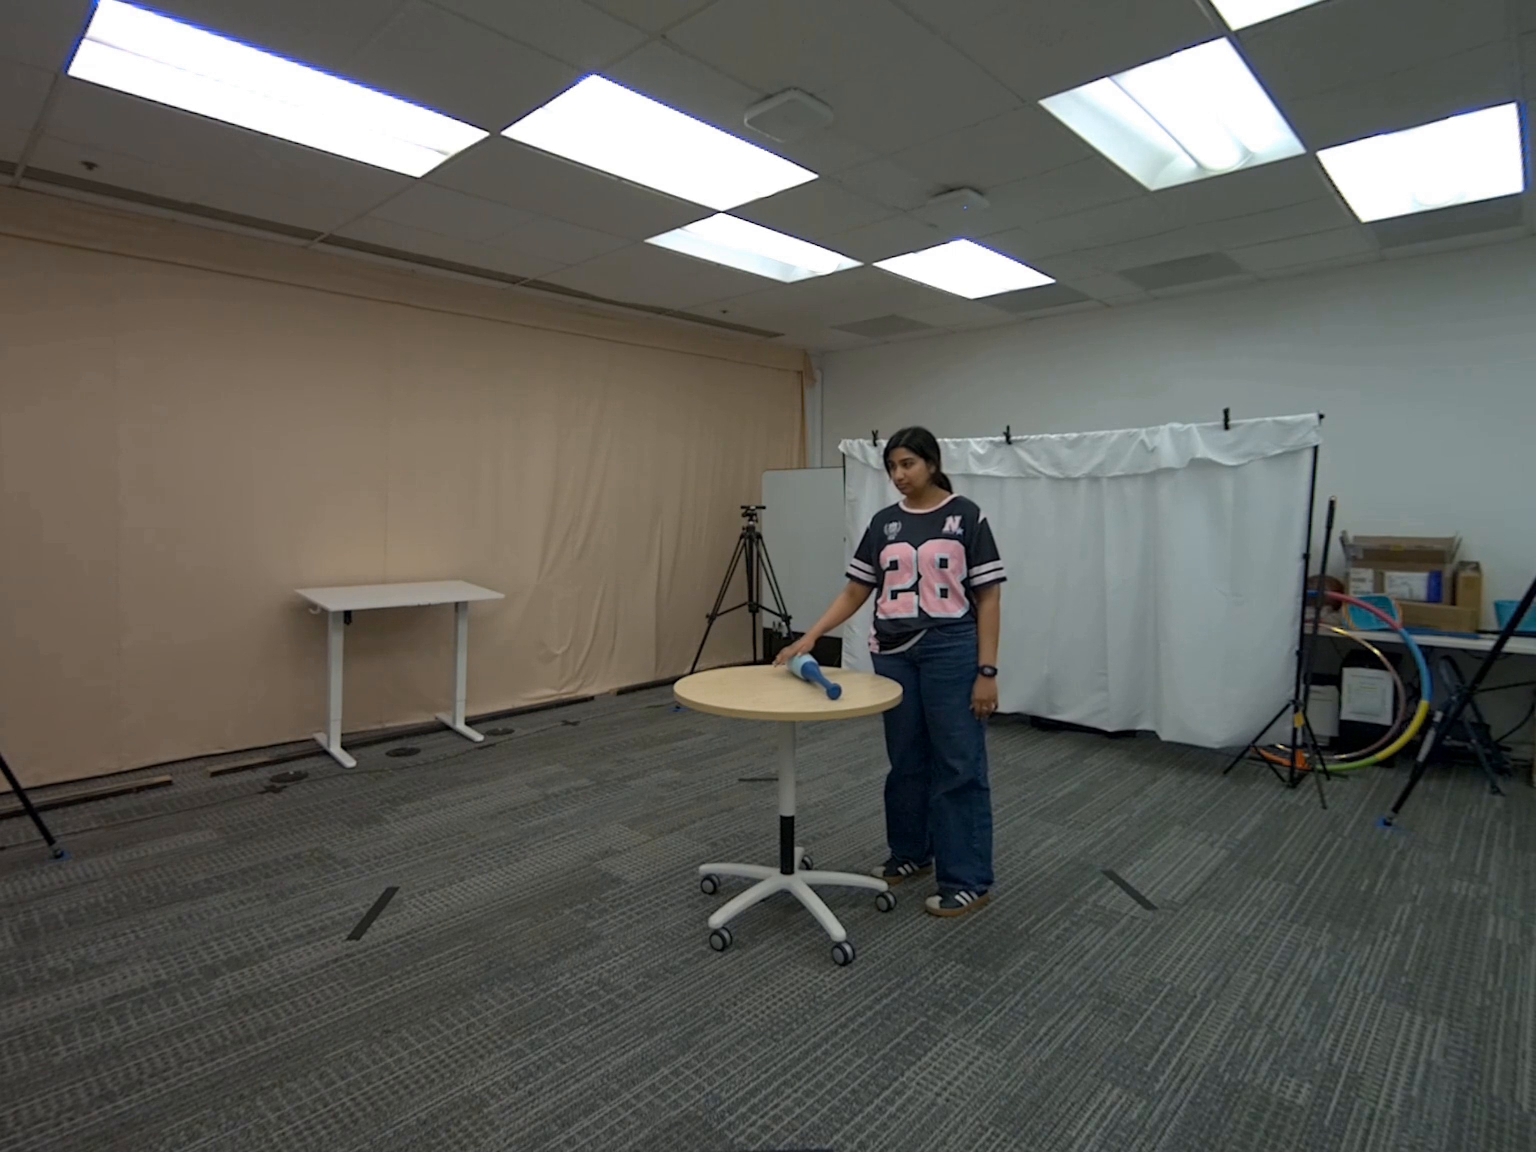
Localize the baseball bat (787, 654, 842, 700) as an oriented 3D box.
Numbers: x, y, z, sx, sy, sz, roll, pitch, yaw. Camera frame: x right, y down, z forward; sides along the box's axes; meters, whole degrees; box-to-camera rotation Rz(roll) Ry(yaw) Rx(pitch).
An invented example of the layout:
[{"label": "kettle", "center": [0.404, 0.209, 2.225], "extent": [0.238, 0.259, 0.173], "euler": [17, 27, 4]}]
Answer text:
[{"label": "baseball bat", "center": [0.161, 0.334, 2.878], "extent": [0.088, 0.089, 0.551], "euler": [-1, 6, -12]}]
